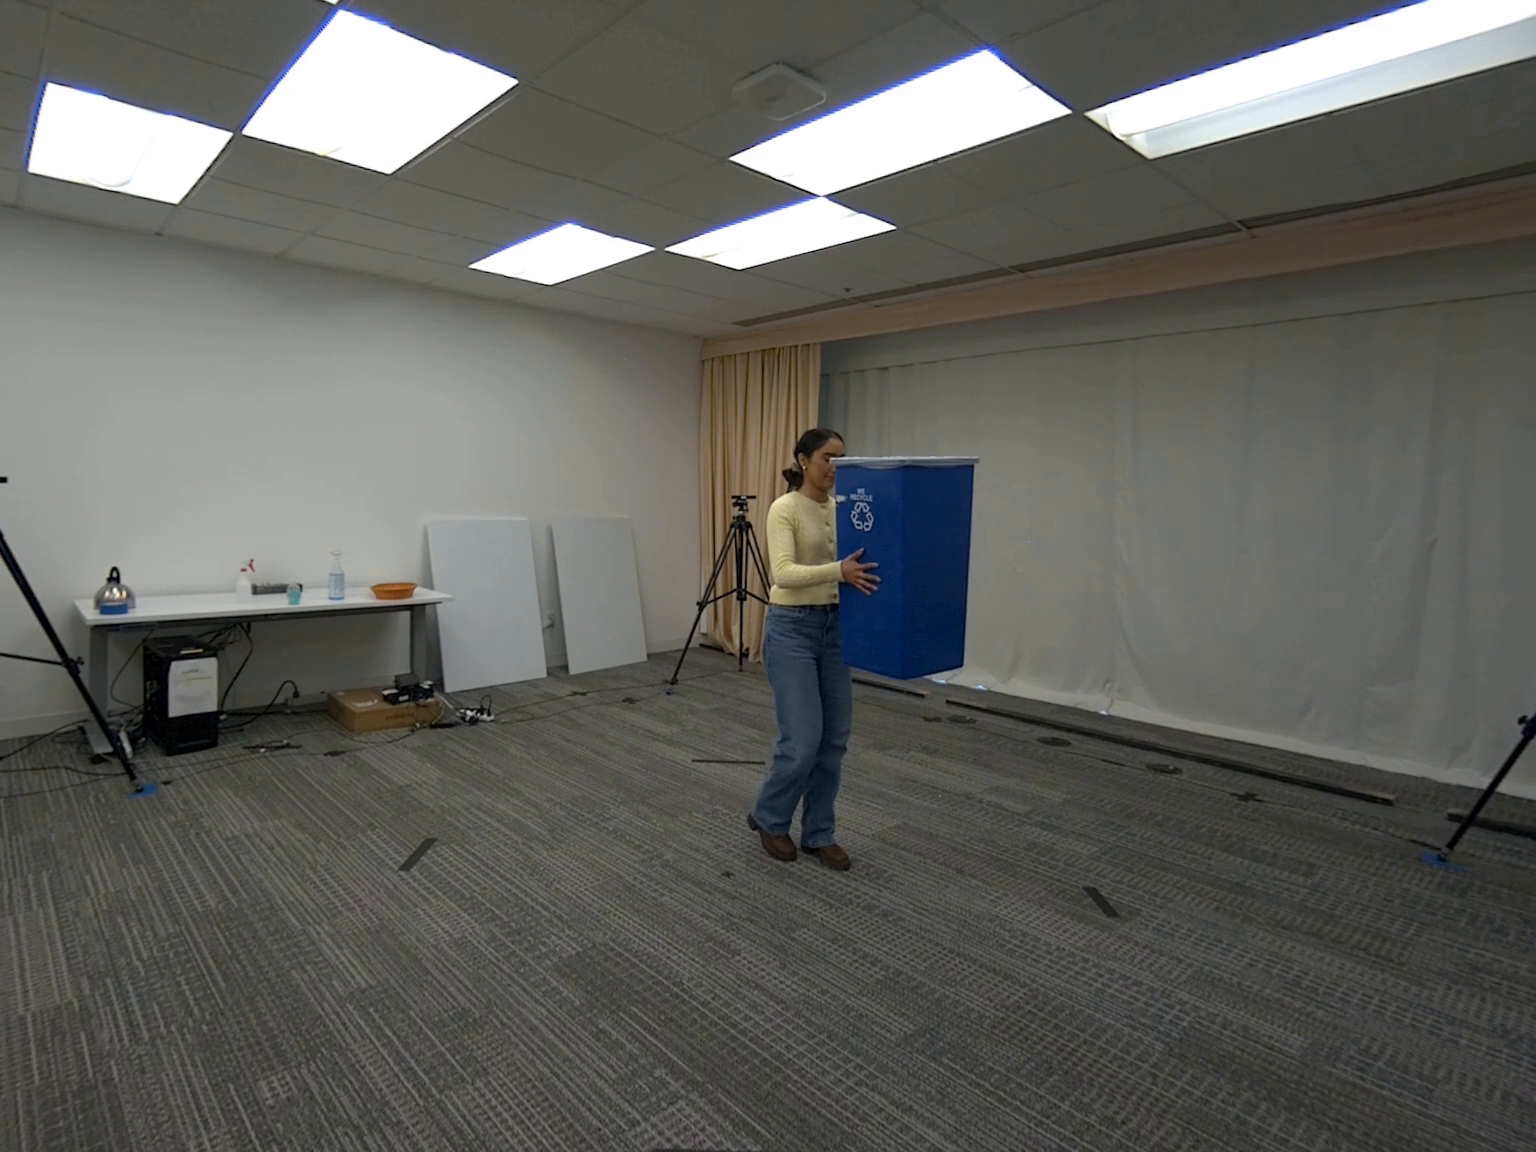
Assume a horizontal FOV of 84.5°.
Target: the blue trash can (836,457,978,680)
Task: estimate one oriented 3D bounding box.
[{"bbox_3d":[0.454,-0.046,2.856,0.370,0.710,0.383,-6,8,-35],"label":"blue trash can"}]
